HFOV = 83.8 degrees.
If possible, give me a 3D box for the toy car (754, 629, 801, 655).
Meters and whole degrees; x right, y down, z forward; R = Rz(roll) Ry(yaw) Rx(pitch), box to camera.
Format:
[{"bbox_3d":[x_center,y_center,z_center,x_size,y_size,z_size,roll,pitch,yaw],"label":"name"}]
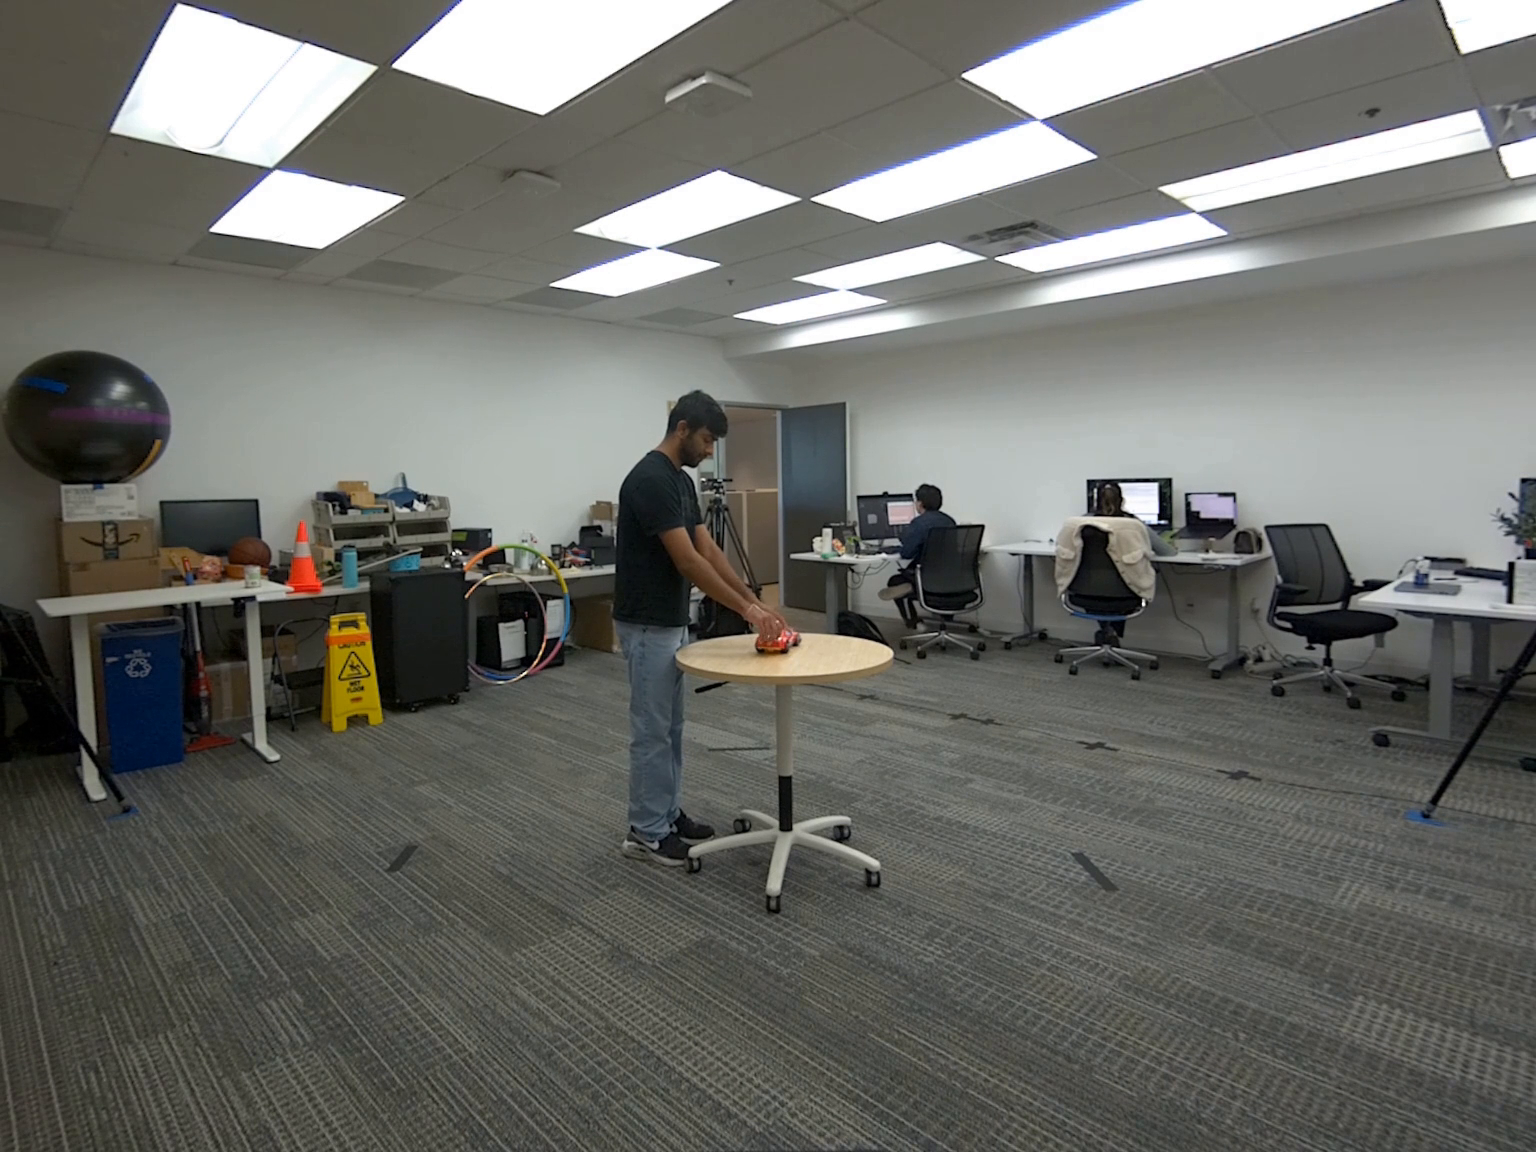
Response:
[{"bbox_3d":[0.028,0.234,3.055,0.133,0.083,0.248,2,-4,19],"label":"toy car"}]
